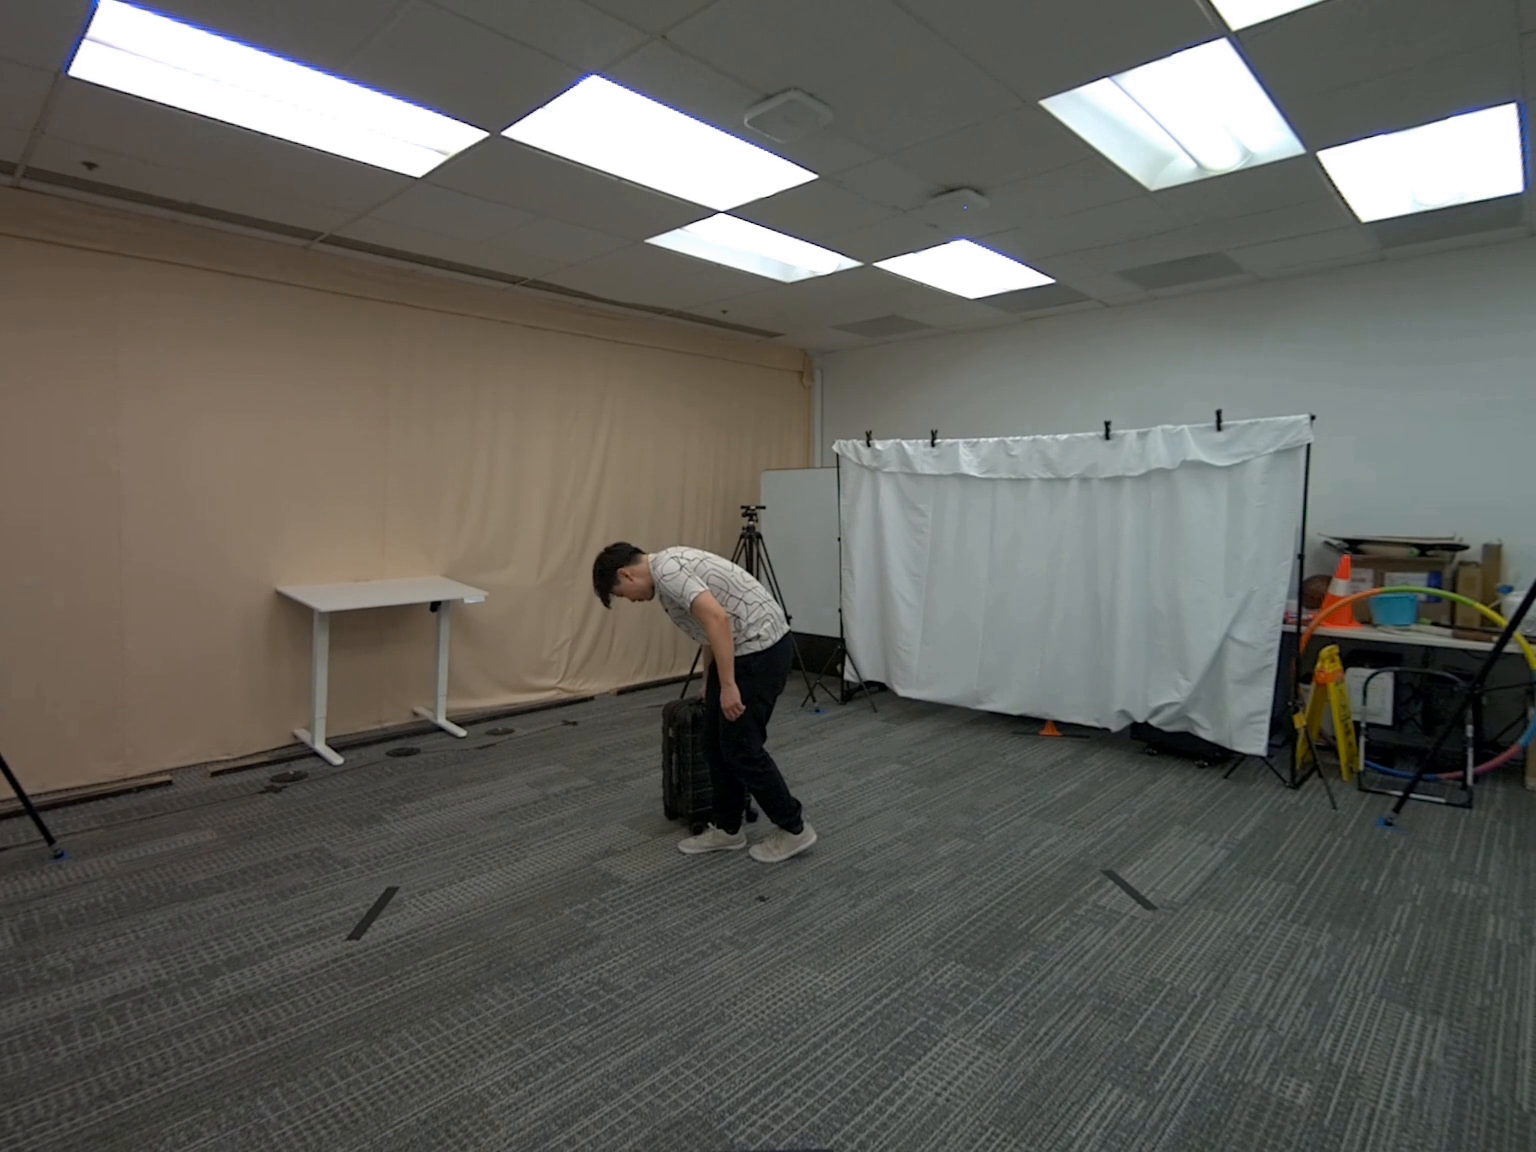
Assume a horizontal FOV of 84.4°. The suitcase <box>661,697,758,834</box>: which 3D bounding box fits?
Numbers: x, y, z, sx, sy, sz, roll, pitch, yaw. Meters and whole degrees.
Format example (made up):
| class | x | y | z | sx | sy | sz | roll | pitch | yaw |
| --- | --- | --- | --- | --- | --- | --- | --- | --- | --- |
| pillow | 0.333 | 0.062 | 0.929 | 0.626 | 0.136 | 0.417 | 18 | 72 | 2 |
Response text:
| class | x | y | z | sx | sy | sz | roll | pitch | yaw |
| --- | --- | --- | --- | --- | --- | --- | --- | --- | --- |
| suitcase | -0.279 | 0.809 | 3.731 | 0.365 | 0.548 | 0.256 | -4 | 3 | -33 |
